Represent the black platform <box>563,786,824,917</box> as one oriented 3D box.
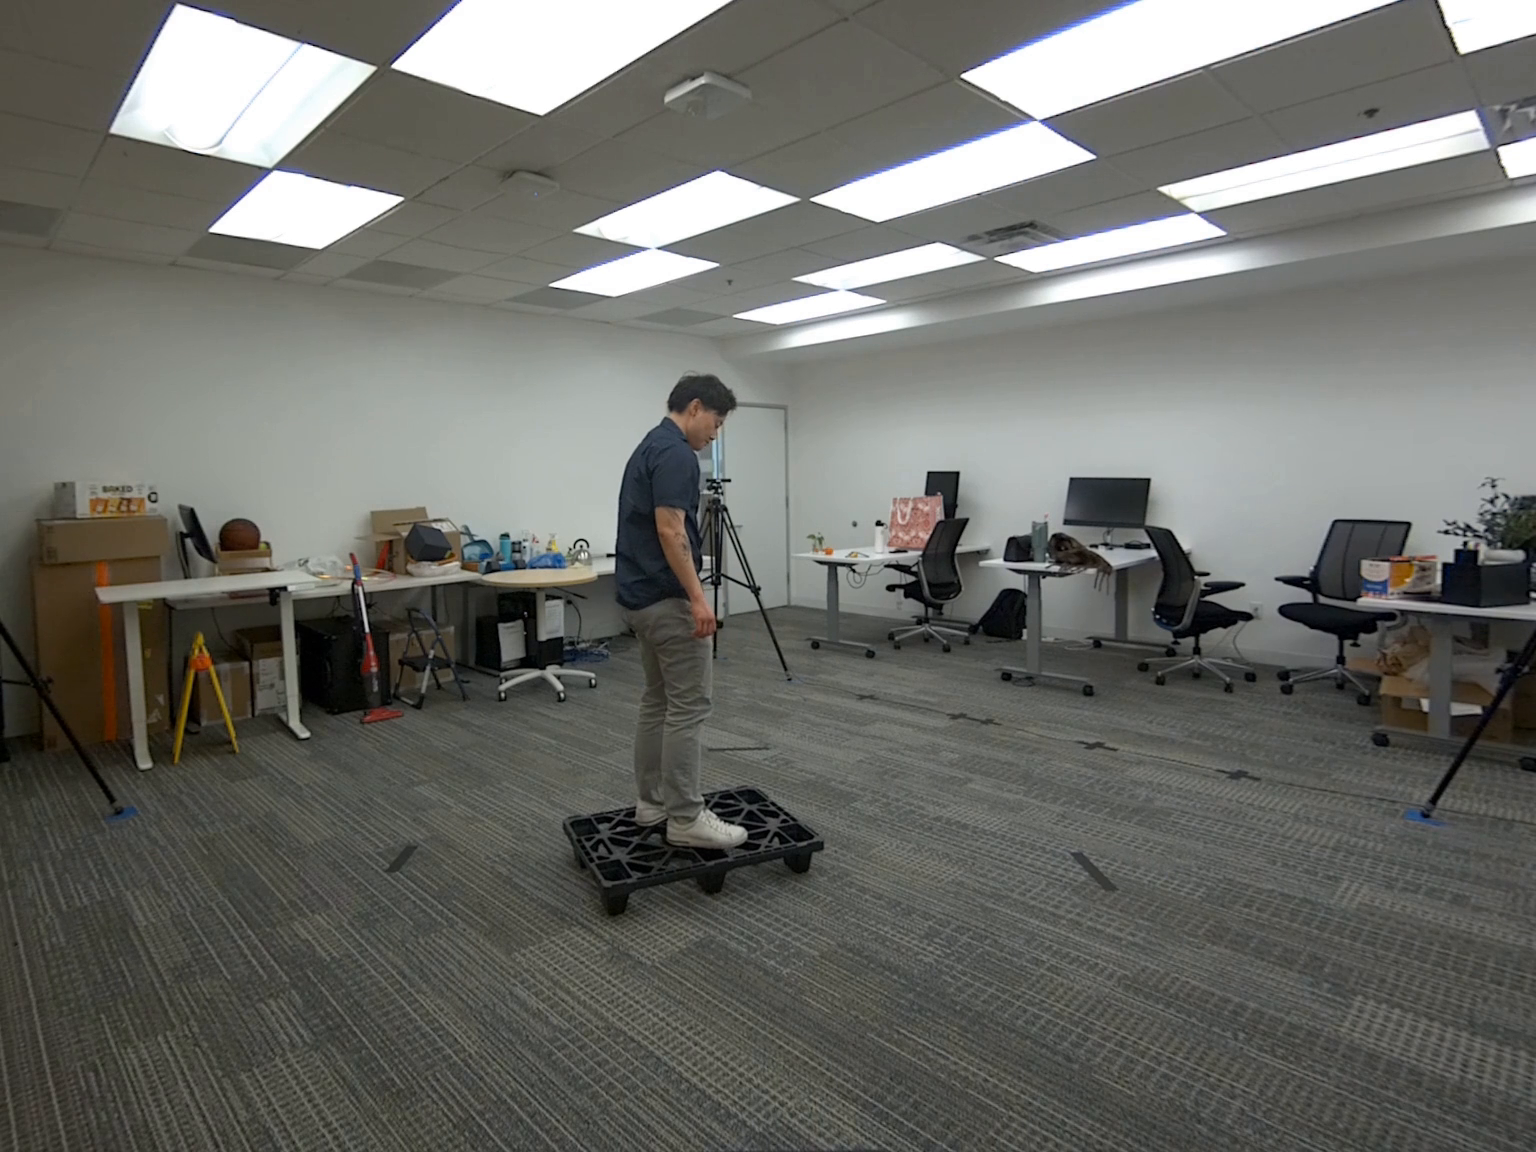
[{"bbox_3d":[-0.289,0.984,3.101,0.789,0.143,0.620,-4,7,-24],"label":"black platform"}]
